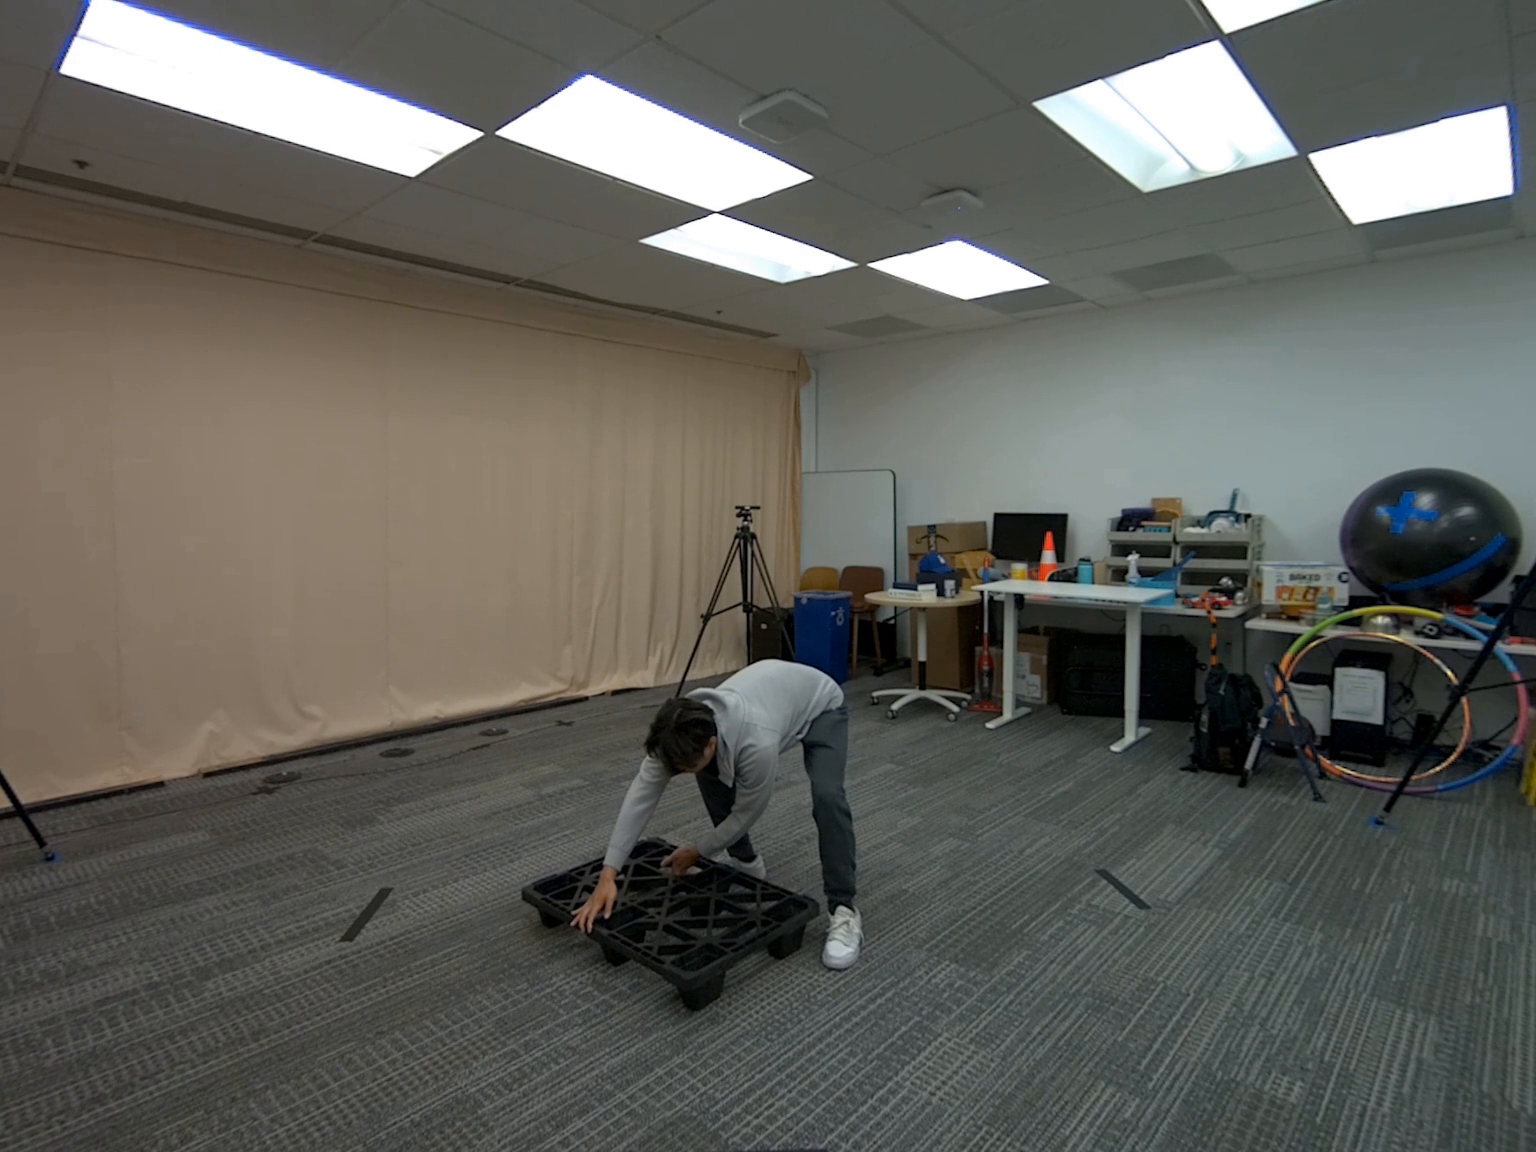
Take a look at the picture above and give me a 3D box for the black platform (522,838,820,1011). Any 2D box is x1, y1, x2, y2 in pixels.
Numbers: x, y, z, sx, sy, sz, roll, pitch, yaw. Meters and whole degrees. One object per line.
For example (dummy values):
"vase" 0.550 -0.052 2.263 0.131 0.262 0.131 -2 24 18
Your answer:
"black platform" -0.328 1.101 2.735 0.832 0.143 0.587 4 6 42
